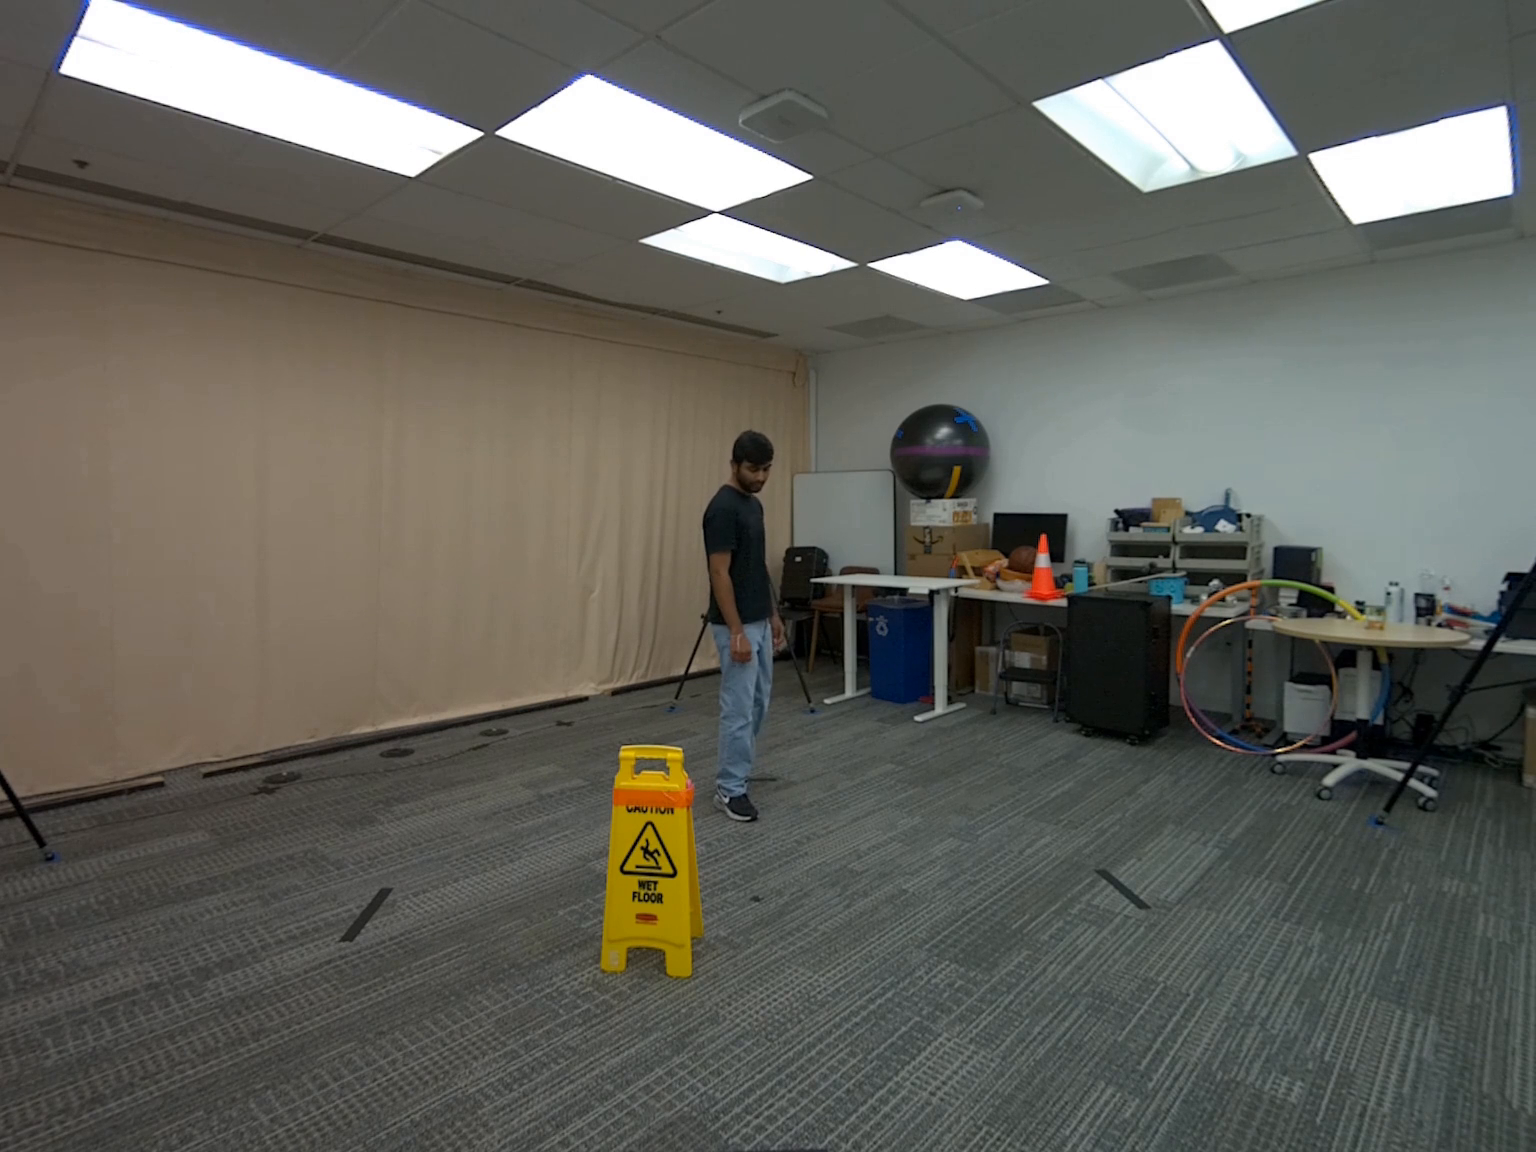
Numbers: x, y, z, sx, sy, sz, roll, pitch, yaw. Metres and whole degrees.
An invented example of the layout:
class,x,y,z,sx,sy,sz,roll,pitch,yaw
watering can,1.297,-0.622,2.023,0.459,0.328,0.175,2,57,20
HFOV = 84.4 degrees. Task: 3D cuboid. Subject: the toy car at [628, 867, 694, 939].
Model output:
class,x,y,z,sx,sy,sz,roll,pitch,yaw
toy car,-0.367,1.122,2.923,0.133,0.082,0.252,0,15,17
